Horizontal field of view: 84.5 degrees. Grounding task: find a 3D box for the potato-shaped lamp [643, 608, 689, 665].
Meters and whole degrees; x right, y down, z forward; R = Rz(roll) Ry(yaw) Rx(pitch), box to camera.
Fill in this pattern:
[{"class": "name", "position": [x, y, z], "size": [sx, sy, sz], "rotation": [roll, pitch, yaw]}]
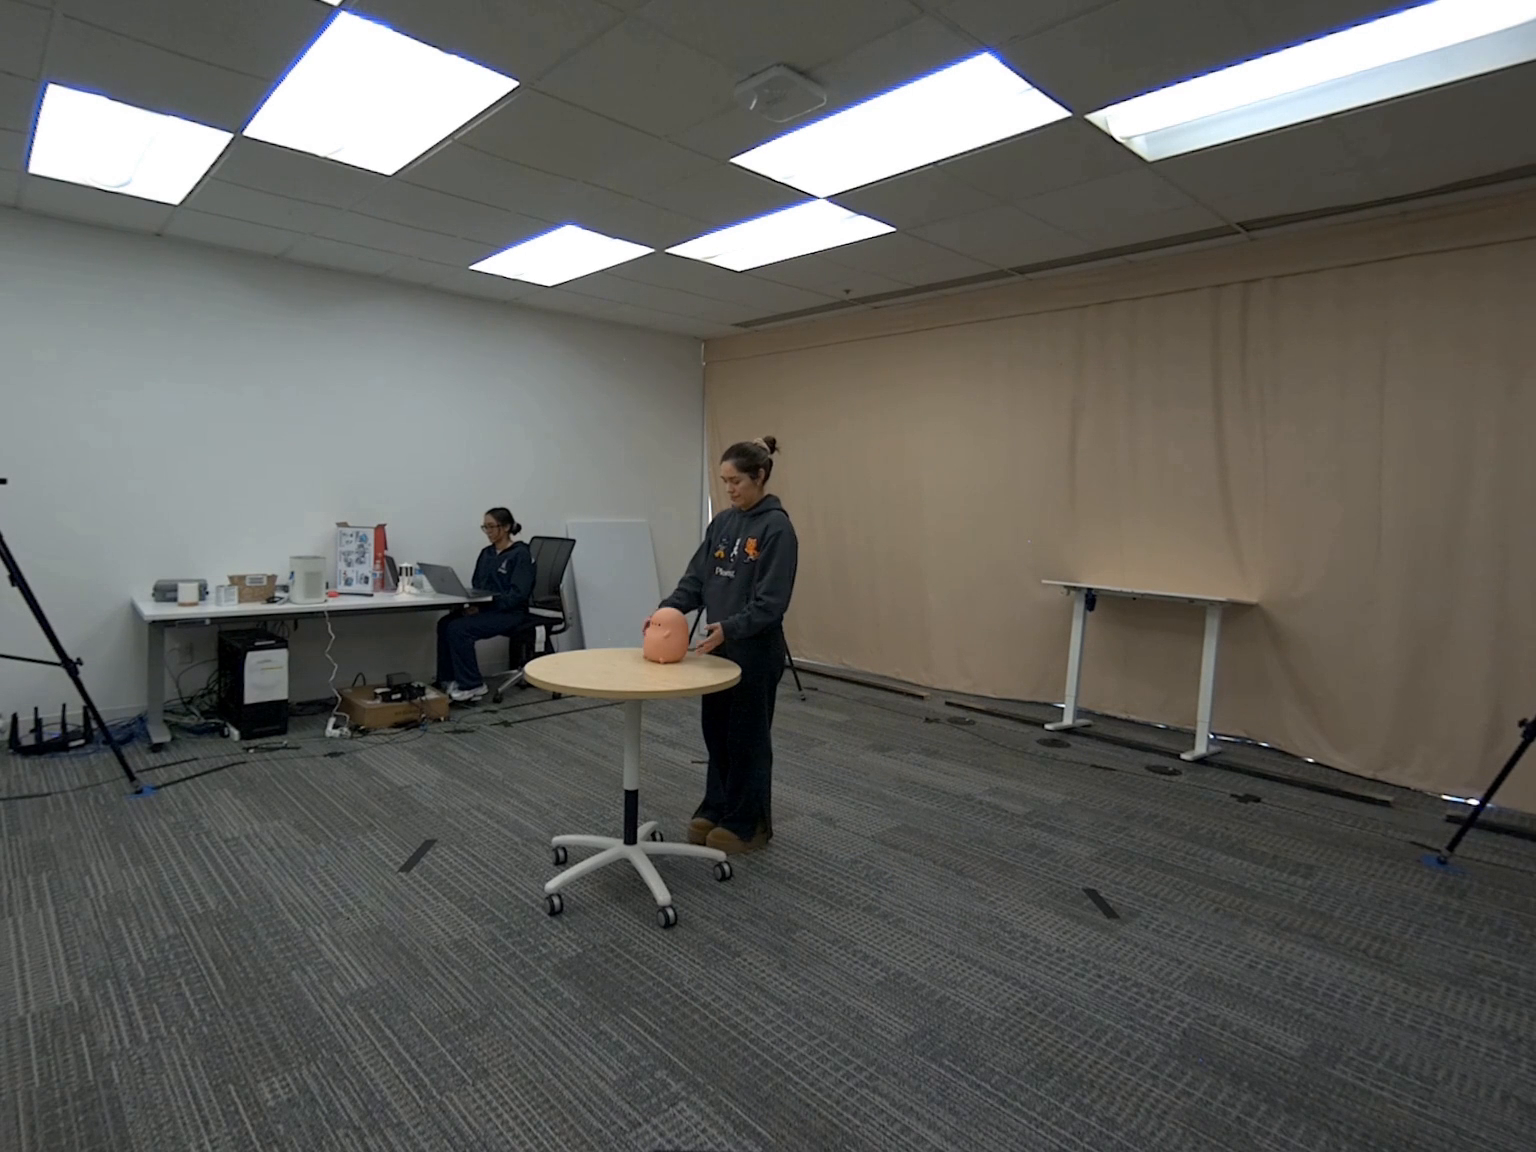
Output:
[{"class": "potato-shaped lamp", "position": [-0.389, 0.222, 3.146], "size": [0.167, 0.197, 0.169], "rotation": [-3, 6, -45]}]
